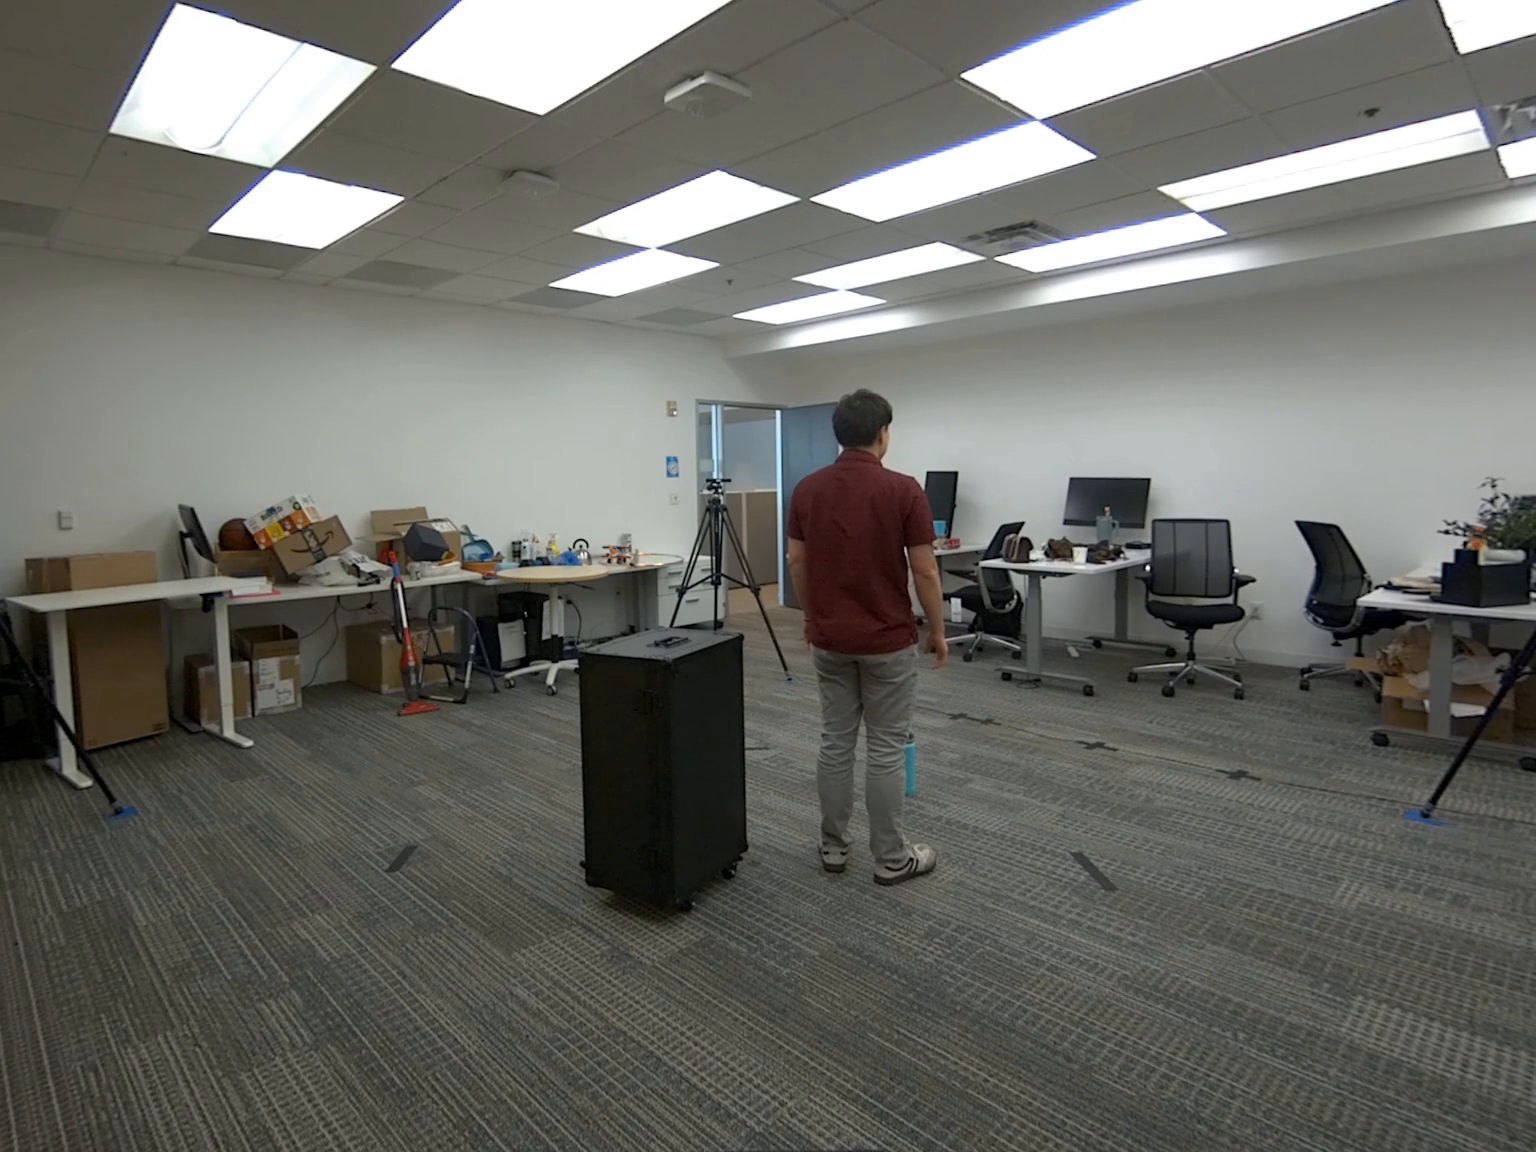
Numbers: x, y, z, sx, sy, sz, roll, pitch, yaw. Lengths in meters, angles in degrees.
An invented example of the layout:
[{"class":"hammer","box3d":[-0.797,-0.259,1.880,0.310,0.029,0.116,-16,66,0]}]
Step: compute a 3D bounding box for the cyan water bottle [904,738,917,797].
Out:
[{"class":"cyan water bottle","box3d":[0.614,0.818,3.786,0.092,0.283,0.092,-2,3,-2]}]
